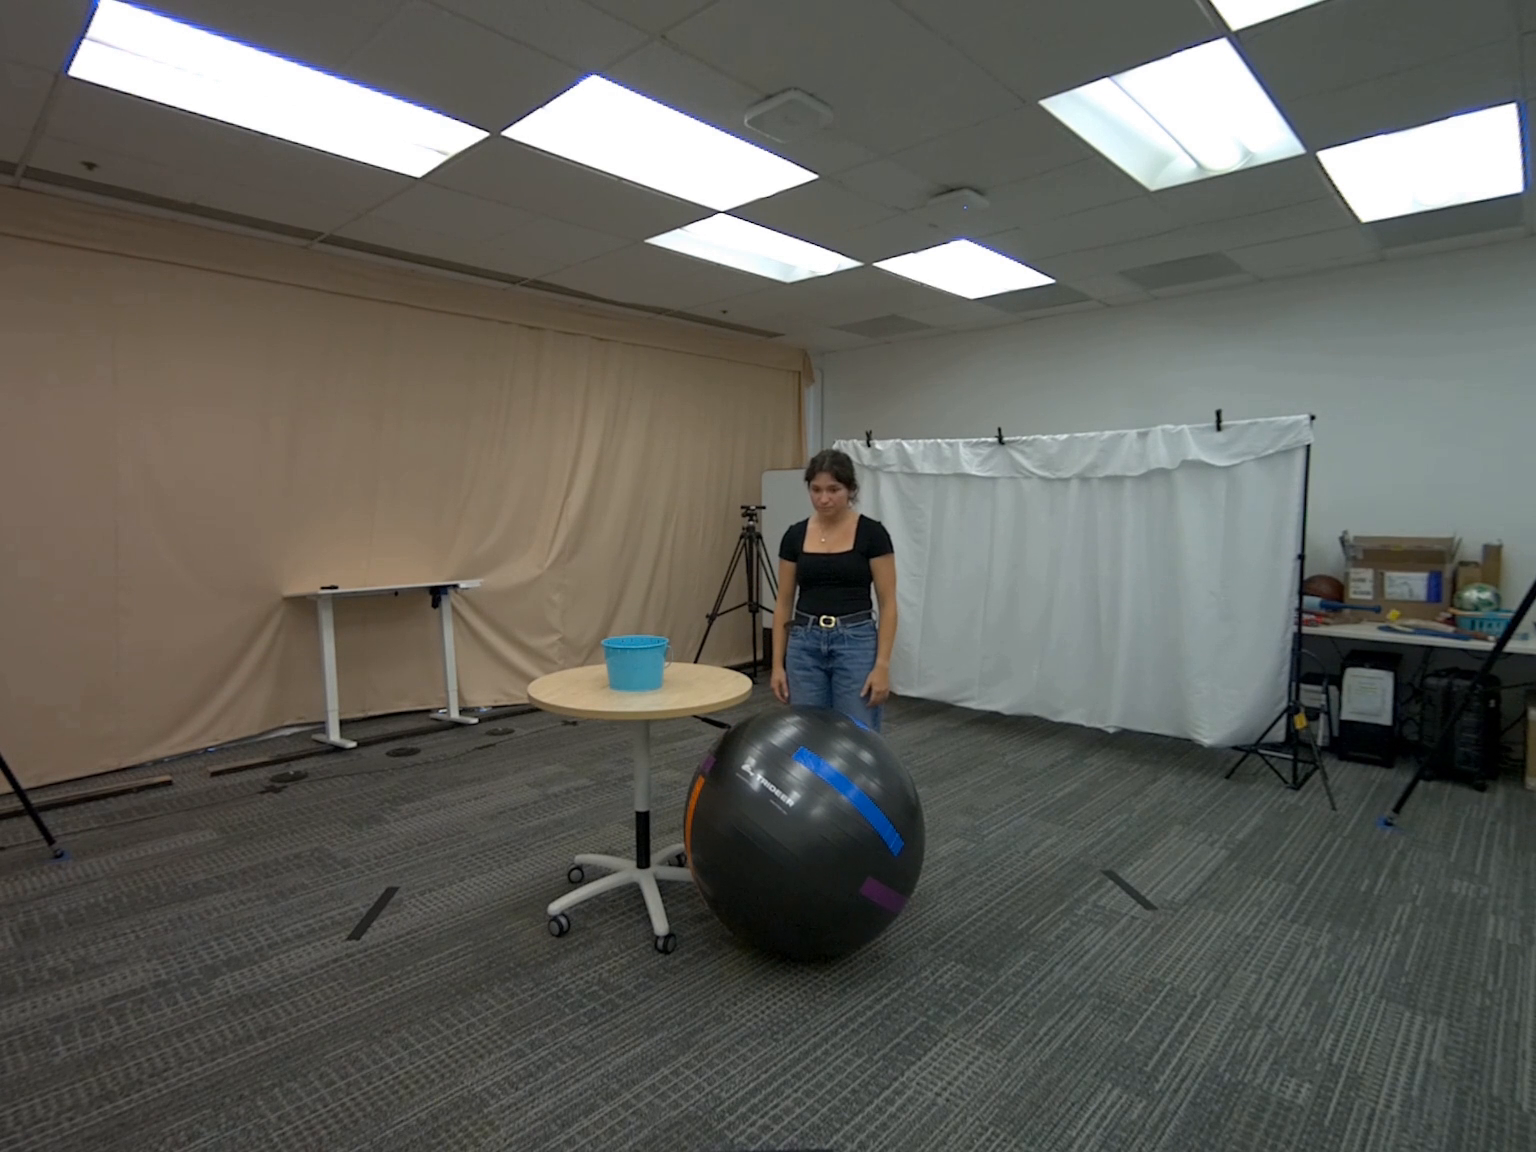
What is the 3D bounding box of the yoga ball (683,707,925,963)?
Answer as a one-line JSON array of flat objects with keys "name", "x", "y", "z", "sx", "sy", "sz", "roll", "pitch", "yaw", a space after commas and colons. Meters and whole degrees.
[{"name": "yoga ball", "x": 0.118, "y": 0.806, "z": 2.672, "sx": 0.757, "sy": 0.756, "sz": 0.760, "roll": 0, "pitch": 4, "yaw": -2}]
